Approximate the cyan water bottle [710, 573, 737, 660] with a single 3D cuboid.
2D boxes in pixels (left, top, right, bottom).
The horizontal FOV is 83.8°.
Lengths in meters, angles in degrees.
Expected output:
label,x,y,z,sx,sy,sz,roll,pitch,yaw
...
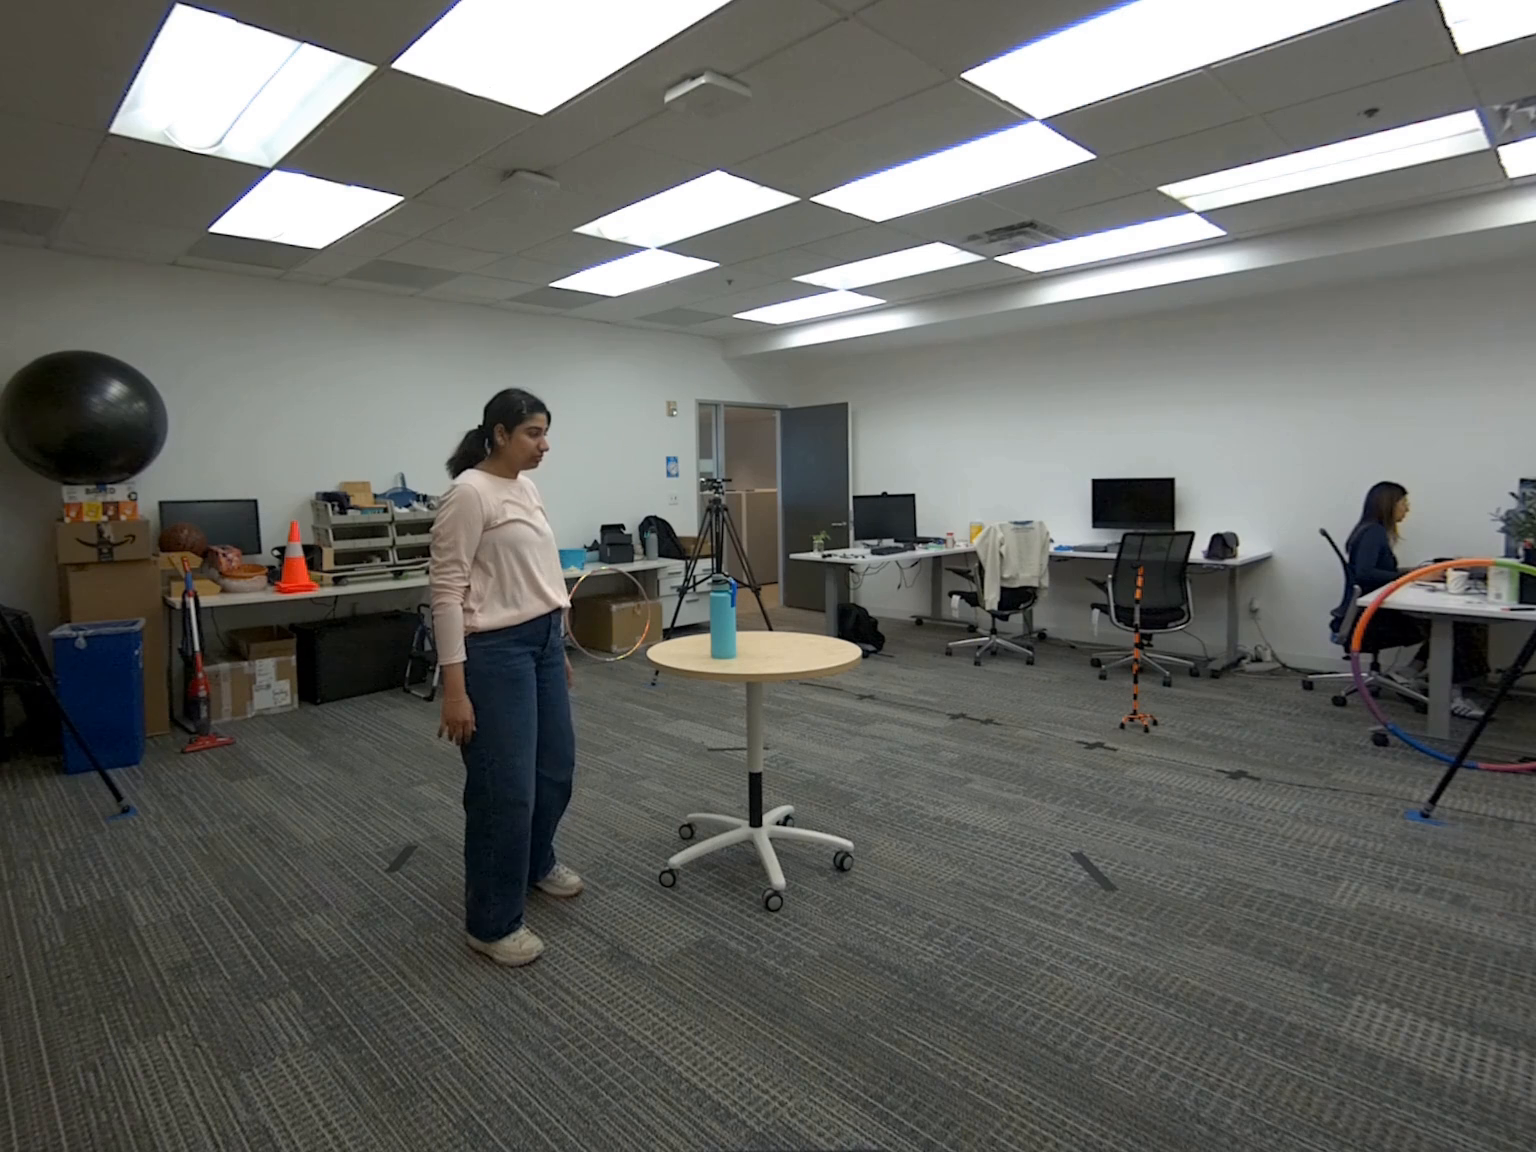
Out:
label,x,y,z,sx,sy,sz,roll,pitch,yaw
cyan water bottle,-0.151,0.138,2.944,0.092,0.282,0.093,-1,4,-2
